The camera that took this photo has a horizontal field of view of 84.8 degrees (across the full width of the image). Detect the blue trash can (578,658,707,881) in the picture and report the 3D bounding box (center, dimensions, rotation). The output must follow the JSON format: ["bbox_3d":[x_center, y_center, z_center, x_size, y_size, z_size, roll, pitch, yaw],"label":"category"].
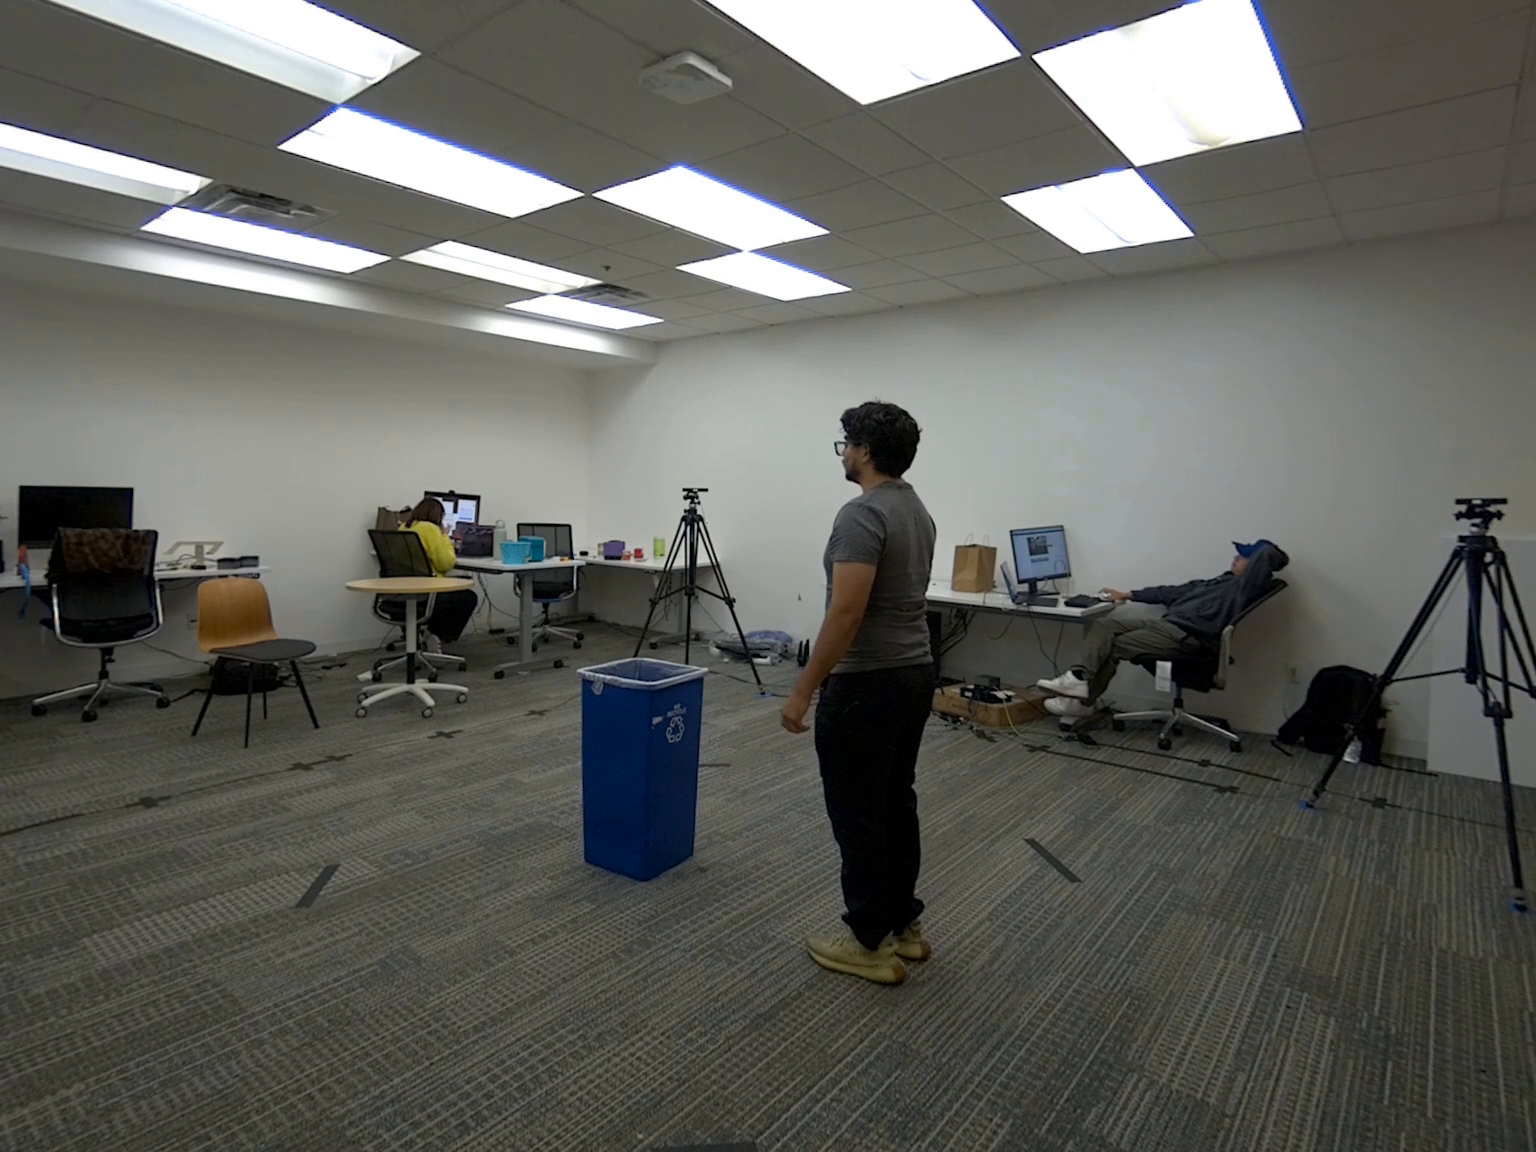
[{"bbox_3d":[-0.483,0.699,3.189,0.390,0.712,0.364,3,4,33],"label":"blue trash can"}]
